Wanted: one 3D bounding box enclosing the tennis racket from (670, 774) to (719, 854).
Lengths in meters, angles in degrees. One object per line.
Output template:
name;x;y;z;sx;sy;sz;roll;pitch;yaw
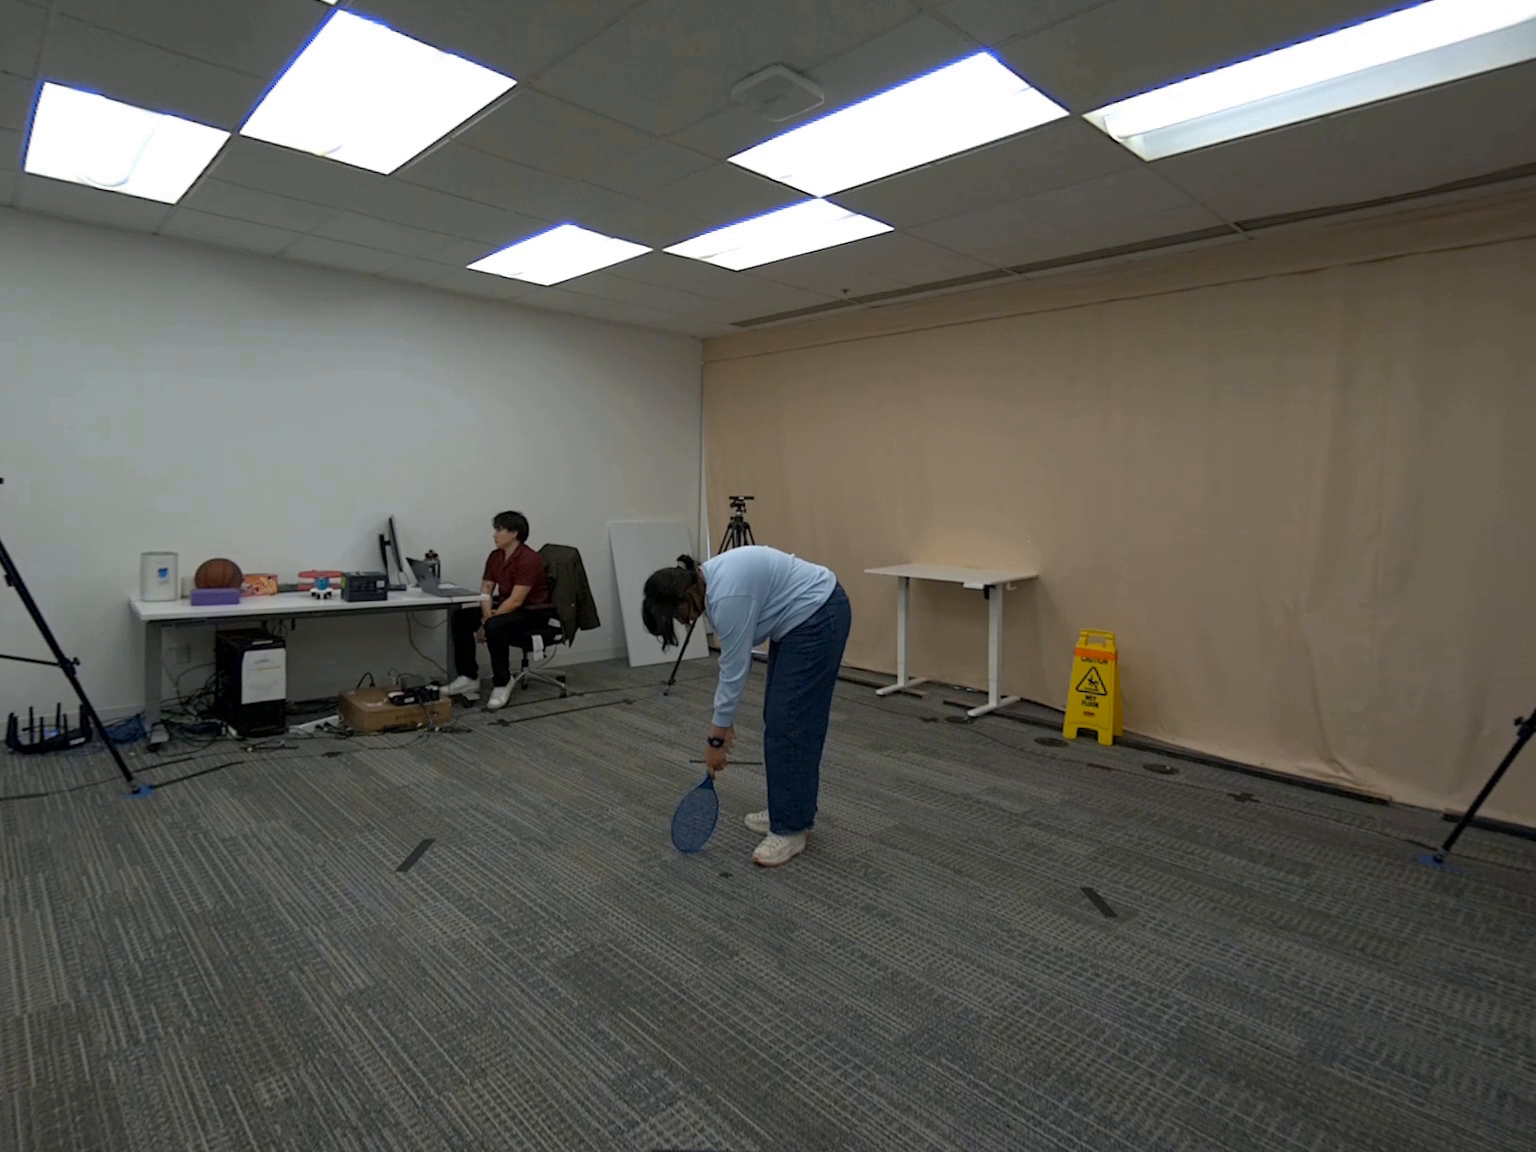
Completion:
tennis racket;-0.255;0.876;3.311;0.207;0.435;0.032;31;-14;-37
